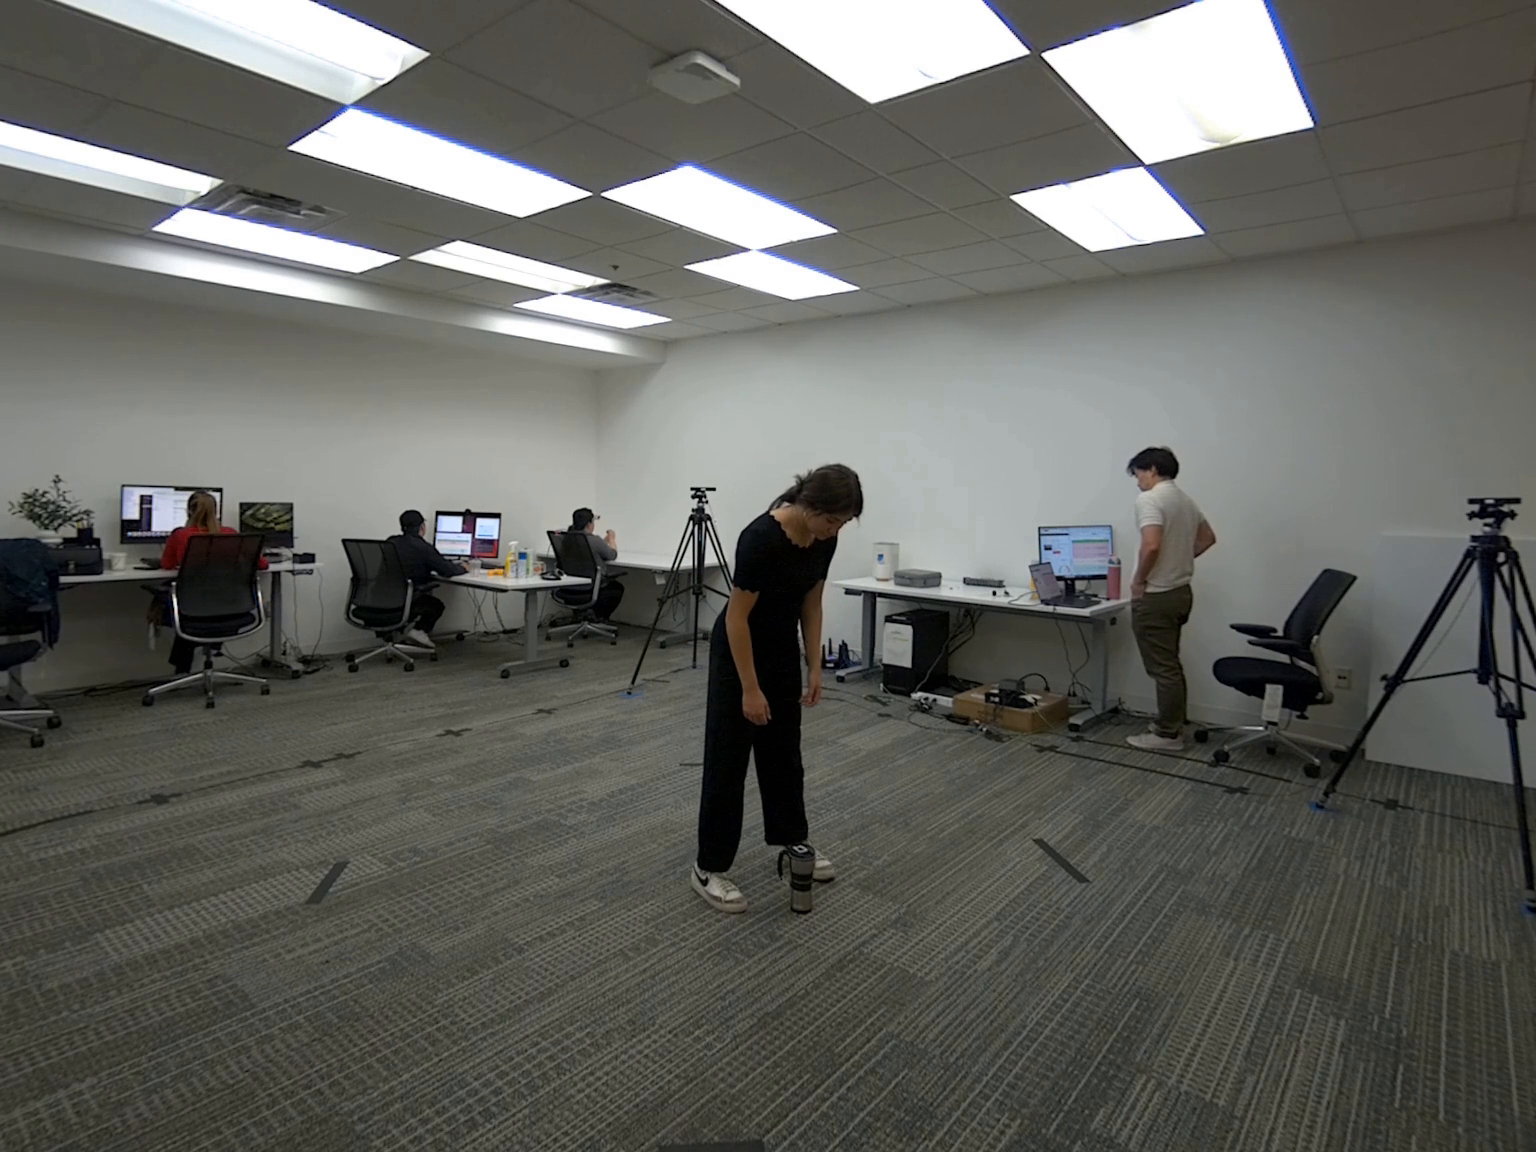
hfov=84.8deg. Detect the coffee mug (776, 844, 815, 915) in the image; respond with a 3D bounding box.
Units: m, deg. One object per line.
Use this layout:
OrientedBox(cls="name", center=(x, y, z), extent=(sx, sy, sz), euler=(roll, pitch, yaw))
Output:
OrientedBox(cls="coffee mug", center=(0.091, 1.001, 2.838), extent=(0.085, 0.202, 0.126), euler=(-4, 9, -44))
